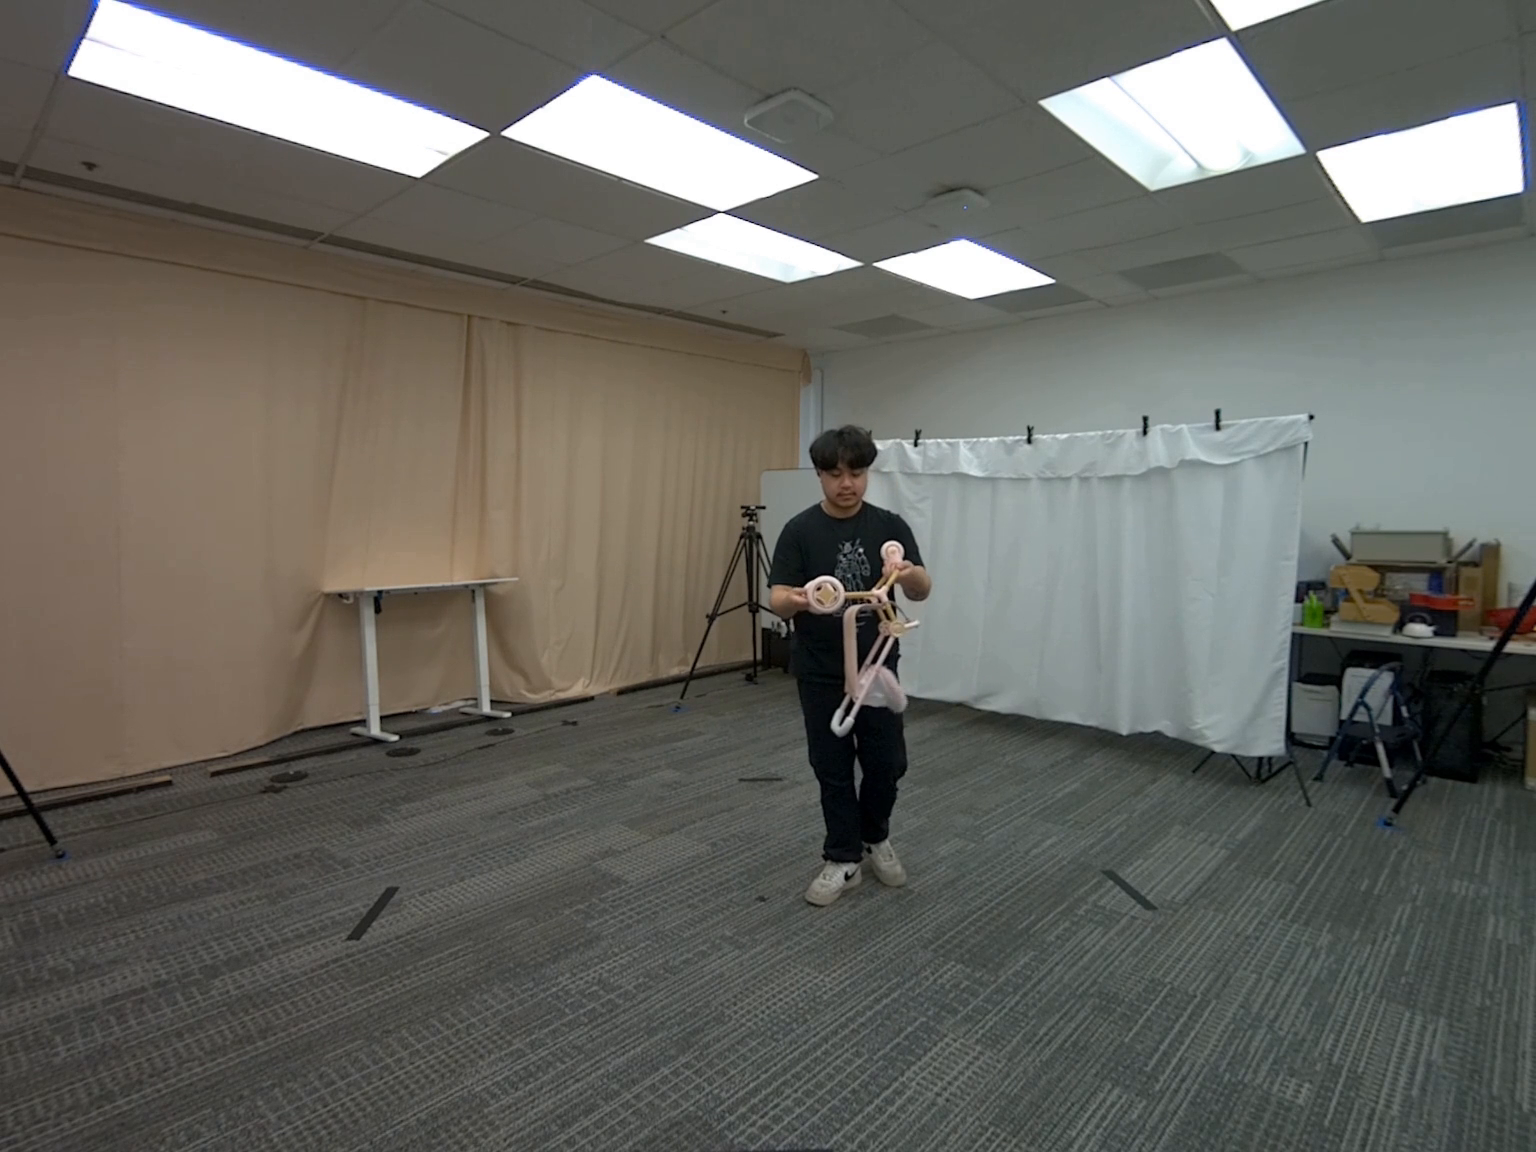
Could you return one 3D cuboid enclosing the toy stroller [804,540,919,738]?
[{"bbox_3d":[0.313,0.185,2.587,0.339,0.538,0.281,-13,-5,-6],"label":"toy stroller"}]
